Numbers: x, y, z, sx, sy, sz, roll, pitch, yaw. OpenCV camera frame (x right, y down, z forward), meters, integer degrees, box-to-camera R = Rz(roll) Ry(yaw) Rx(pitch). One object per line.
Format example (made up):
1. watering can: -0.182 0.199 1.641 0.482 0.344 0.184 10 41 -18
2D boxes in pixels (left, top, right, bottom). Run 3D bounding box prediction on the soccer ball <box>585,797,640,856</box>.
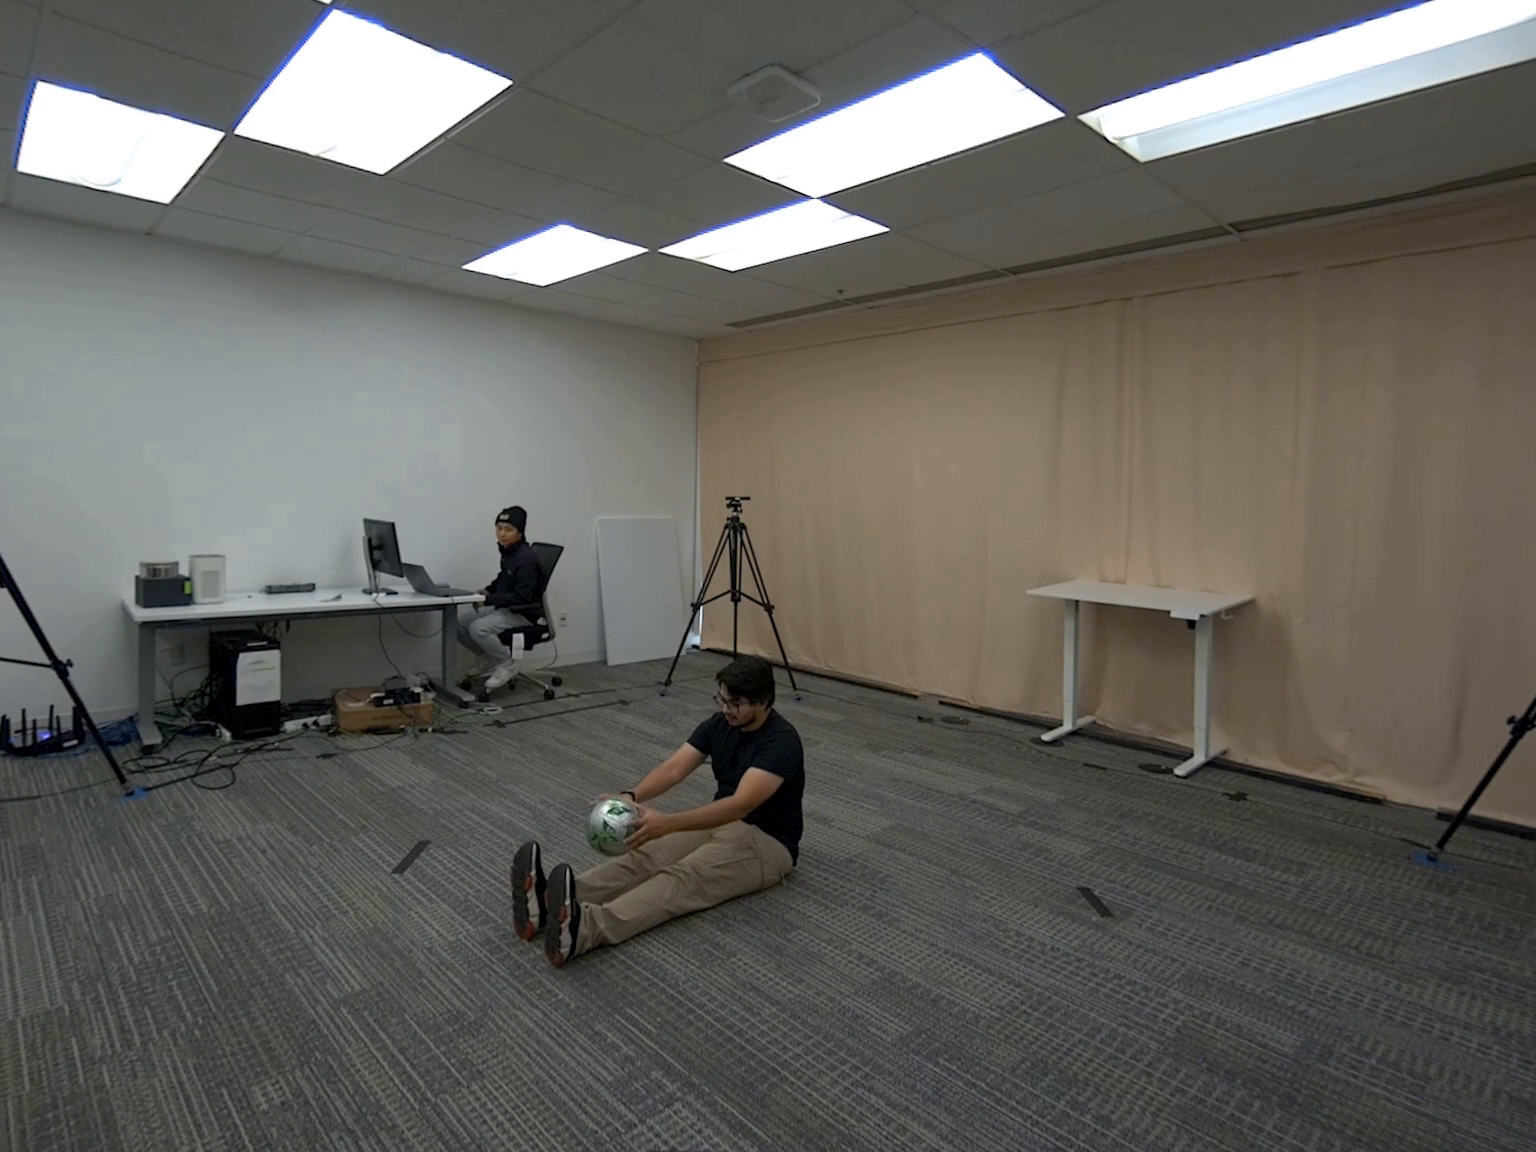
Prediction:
1. soccer ball: -0.518 0.827 2.758 0.187 0.187 0.188 1 5 -1
